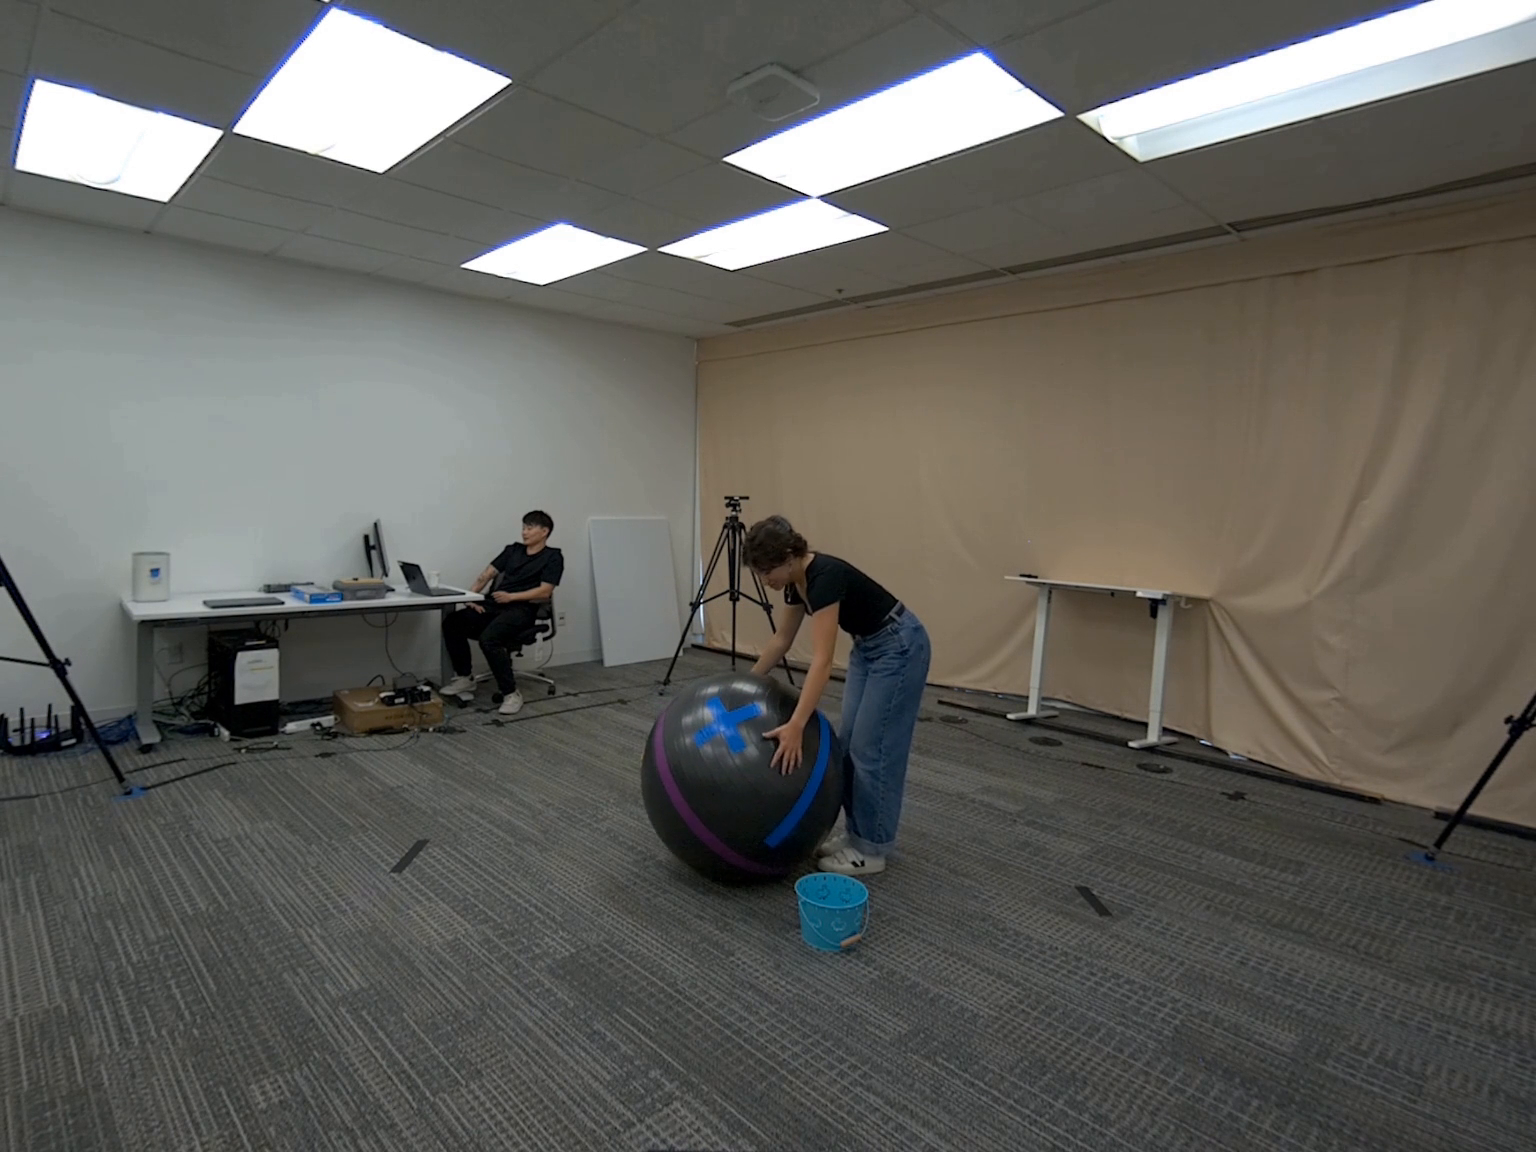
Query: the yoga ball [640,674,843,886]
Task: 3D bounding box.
[{"bbox_3d":[-0.103,0.728,3.149,0.757,0.756,0.761,1,4,-1],"label":"yoga ball"}]
